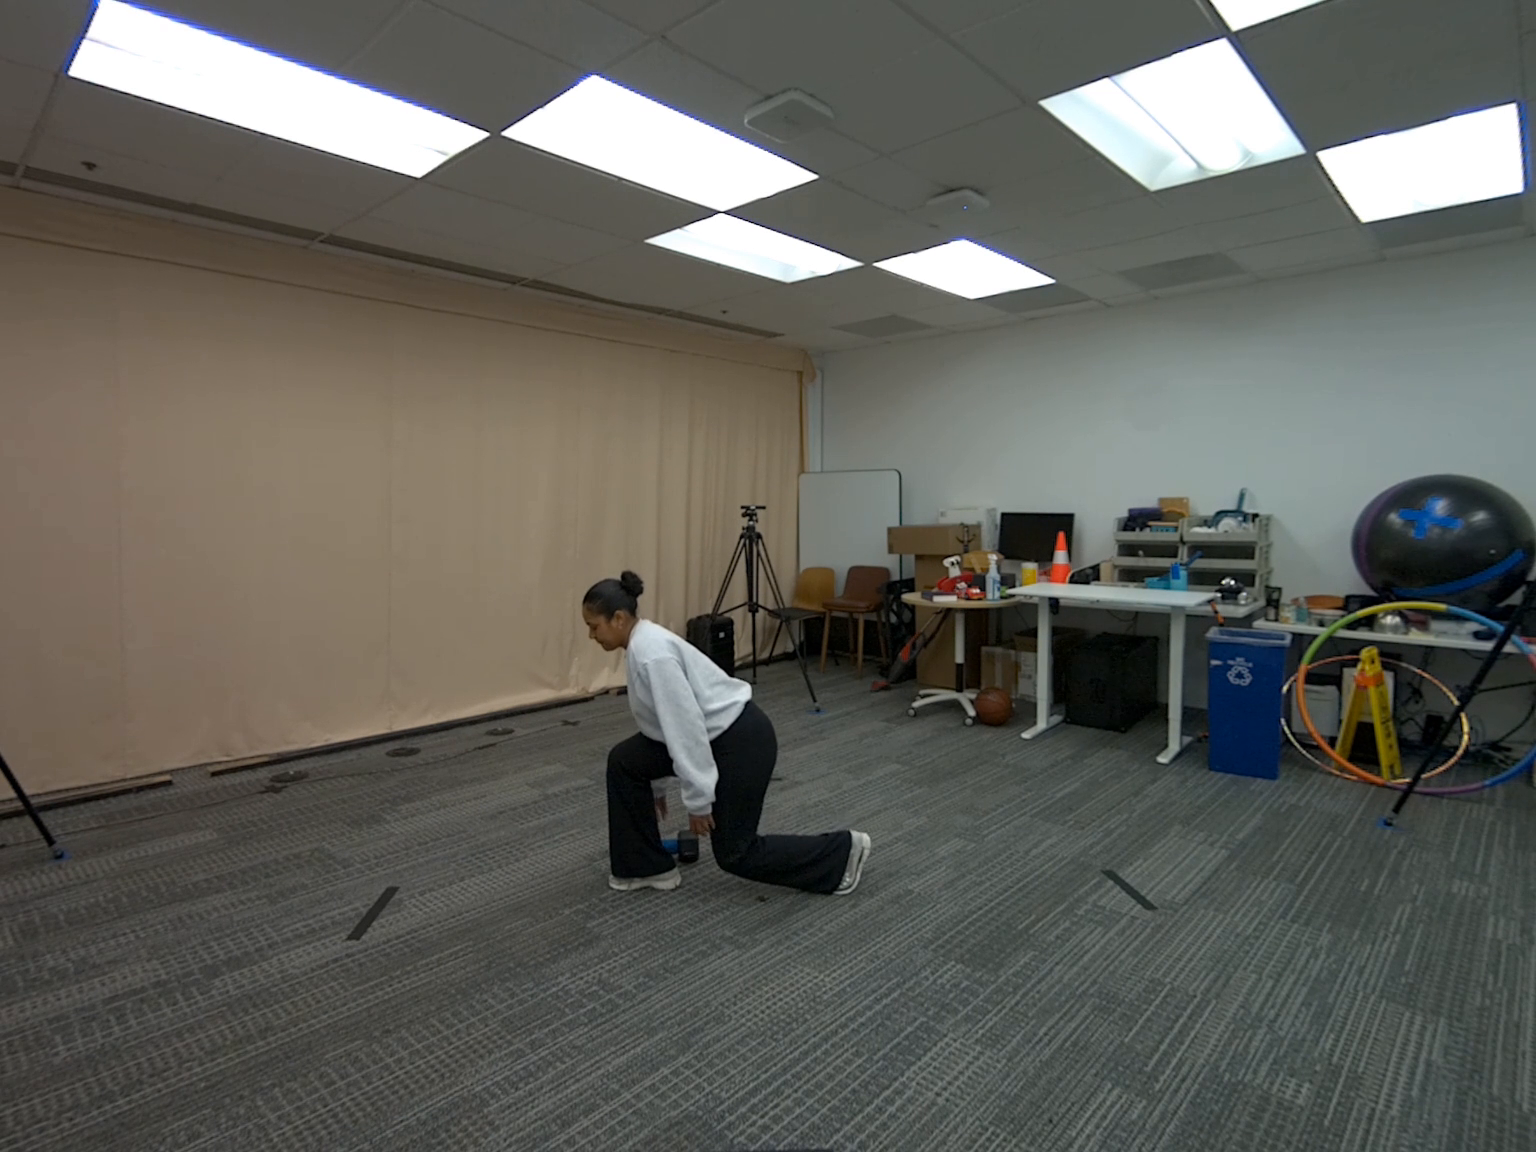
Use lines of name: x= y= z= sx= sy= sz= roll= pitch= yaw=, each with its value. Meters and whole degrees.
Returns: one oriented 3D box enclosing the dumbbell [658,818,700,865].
dumbbell: x=-0.418 y=1.063 z=3.299 sx=0.291 sy=0.121 sz=0.111 roll=-1 pitch=45 yaw=-7
